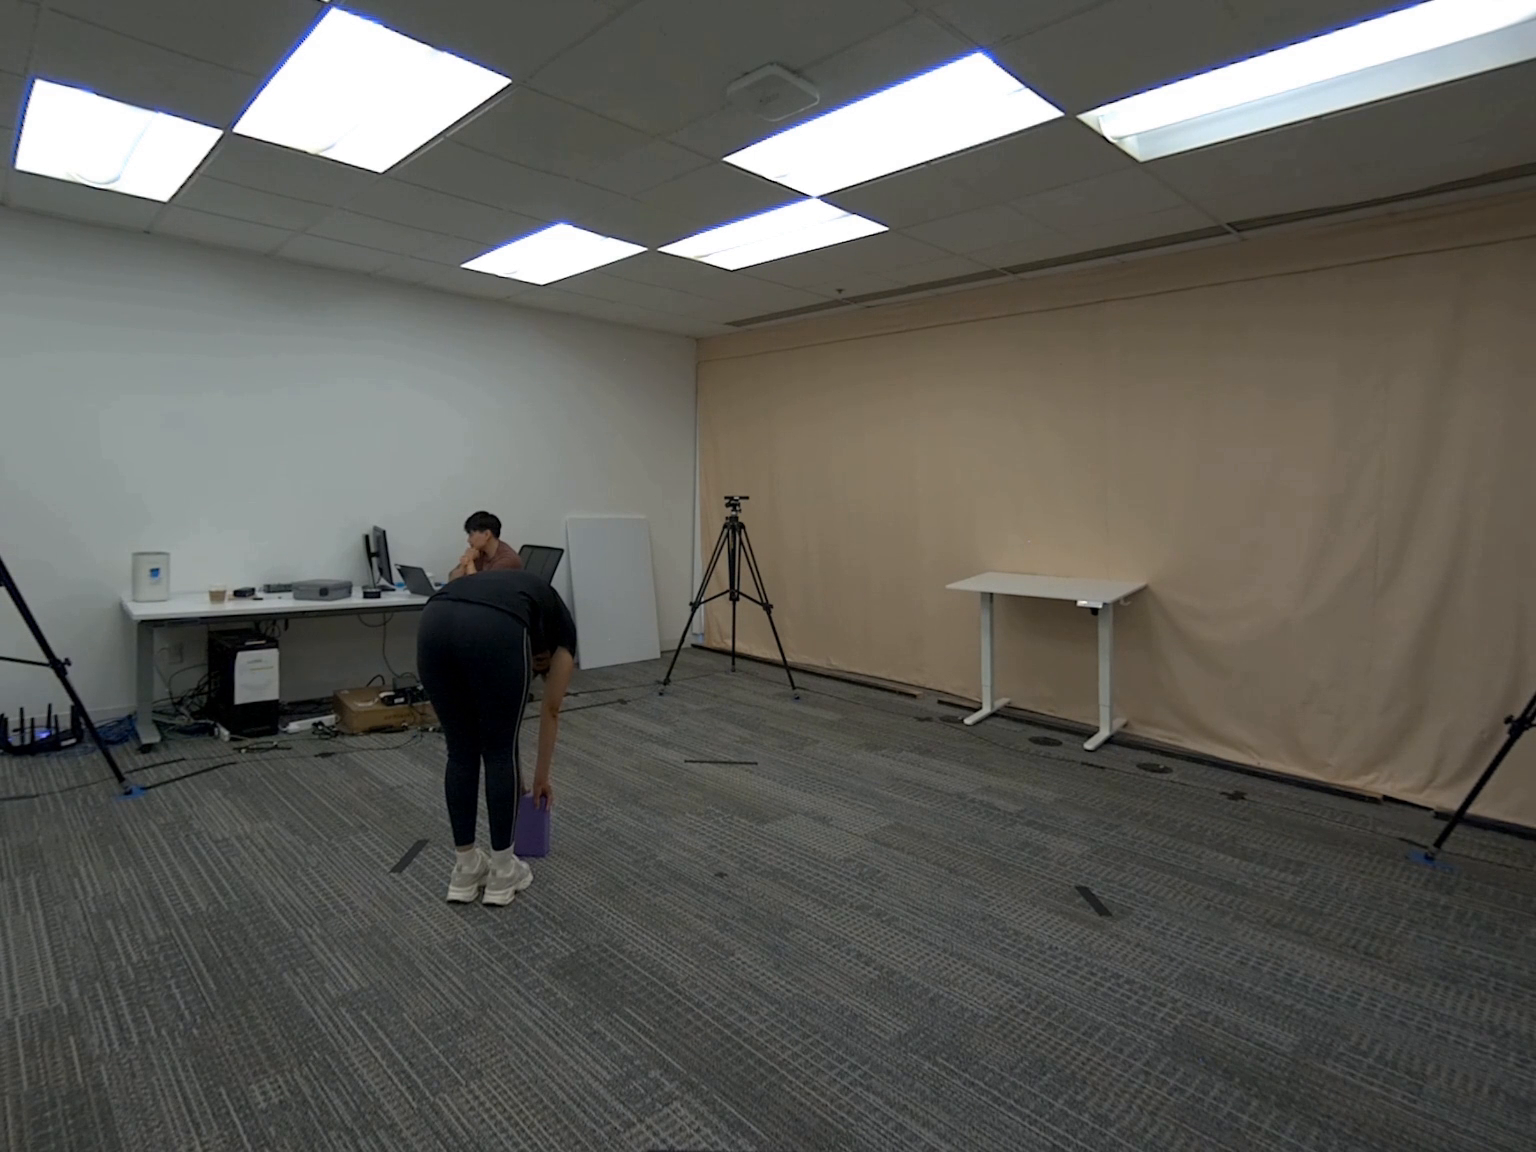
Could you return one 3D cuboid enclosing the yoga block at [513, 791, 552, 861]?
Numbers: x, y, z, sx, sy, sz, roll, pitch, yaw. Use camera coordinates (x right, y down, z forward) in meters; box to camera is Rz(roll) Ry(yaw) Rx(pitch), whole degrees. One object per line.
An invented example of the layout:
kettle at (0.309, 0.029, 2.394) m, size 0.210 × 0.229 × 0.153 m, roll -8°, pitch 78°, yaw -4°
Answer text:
yoga block at (-0.931, 0.966, 3.254) m, size 0.149 × 0.229 × 0.076 m, roll 3°, pitch 4°, yaw 4°
